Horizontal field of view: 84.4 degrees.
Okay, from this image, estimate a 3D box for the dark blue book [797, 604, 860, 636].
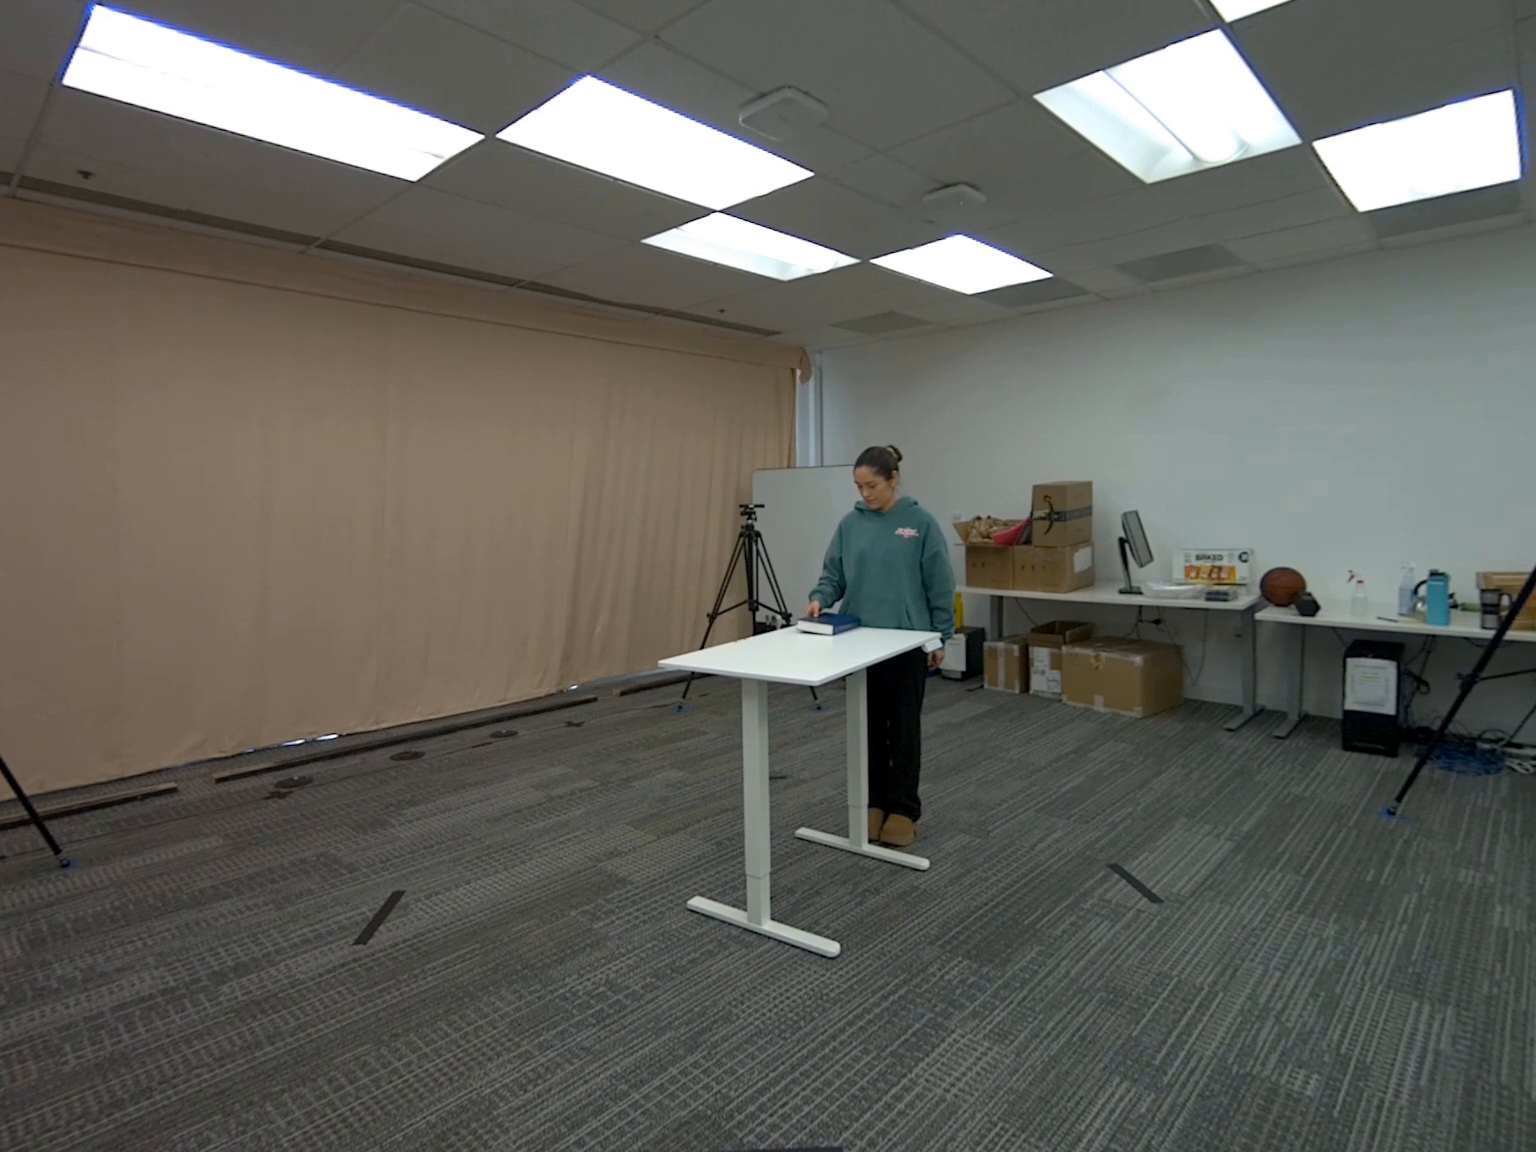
[{"bbox_3d":[0.253,0.193,3.375,0.168,0.045,0.238,7,8,31],"label":"dark blue book"}]
